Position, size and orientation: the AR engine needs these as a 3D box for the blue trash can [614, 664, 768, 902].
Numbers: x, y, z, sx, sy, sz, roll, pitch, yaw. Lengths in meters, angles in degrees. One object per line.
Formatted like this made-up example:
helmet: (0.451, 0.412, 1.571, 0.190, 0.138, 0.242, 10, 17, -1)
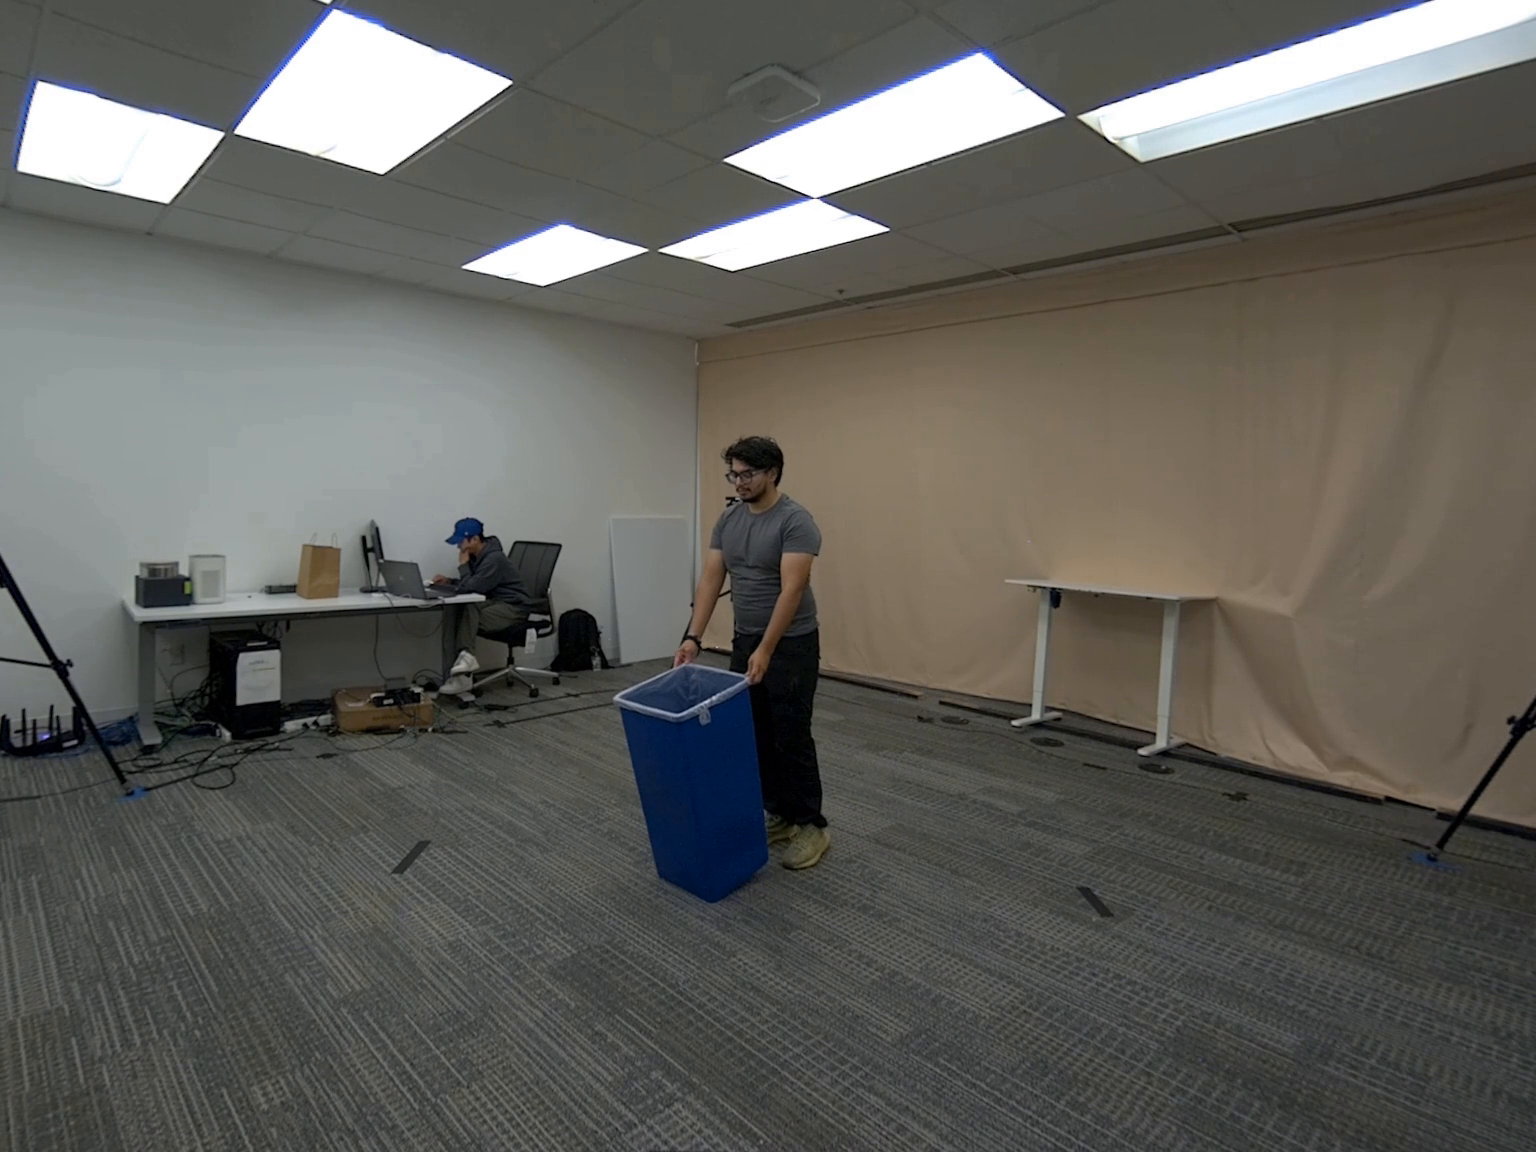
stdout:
blue trash can: (-0.255, 0.732, 3.022, 0.387, 0.706, 0.368, 3, 17, 43)
